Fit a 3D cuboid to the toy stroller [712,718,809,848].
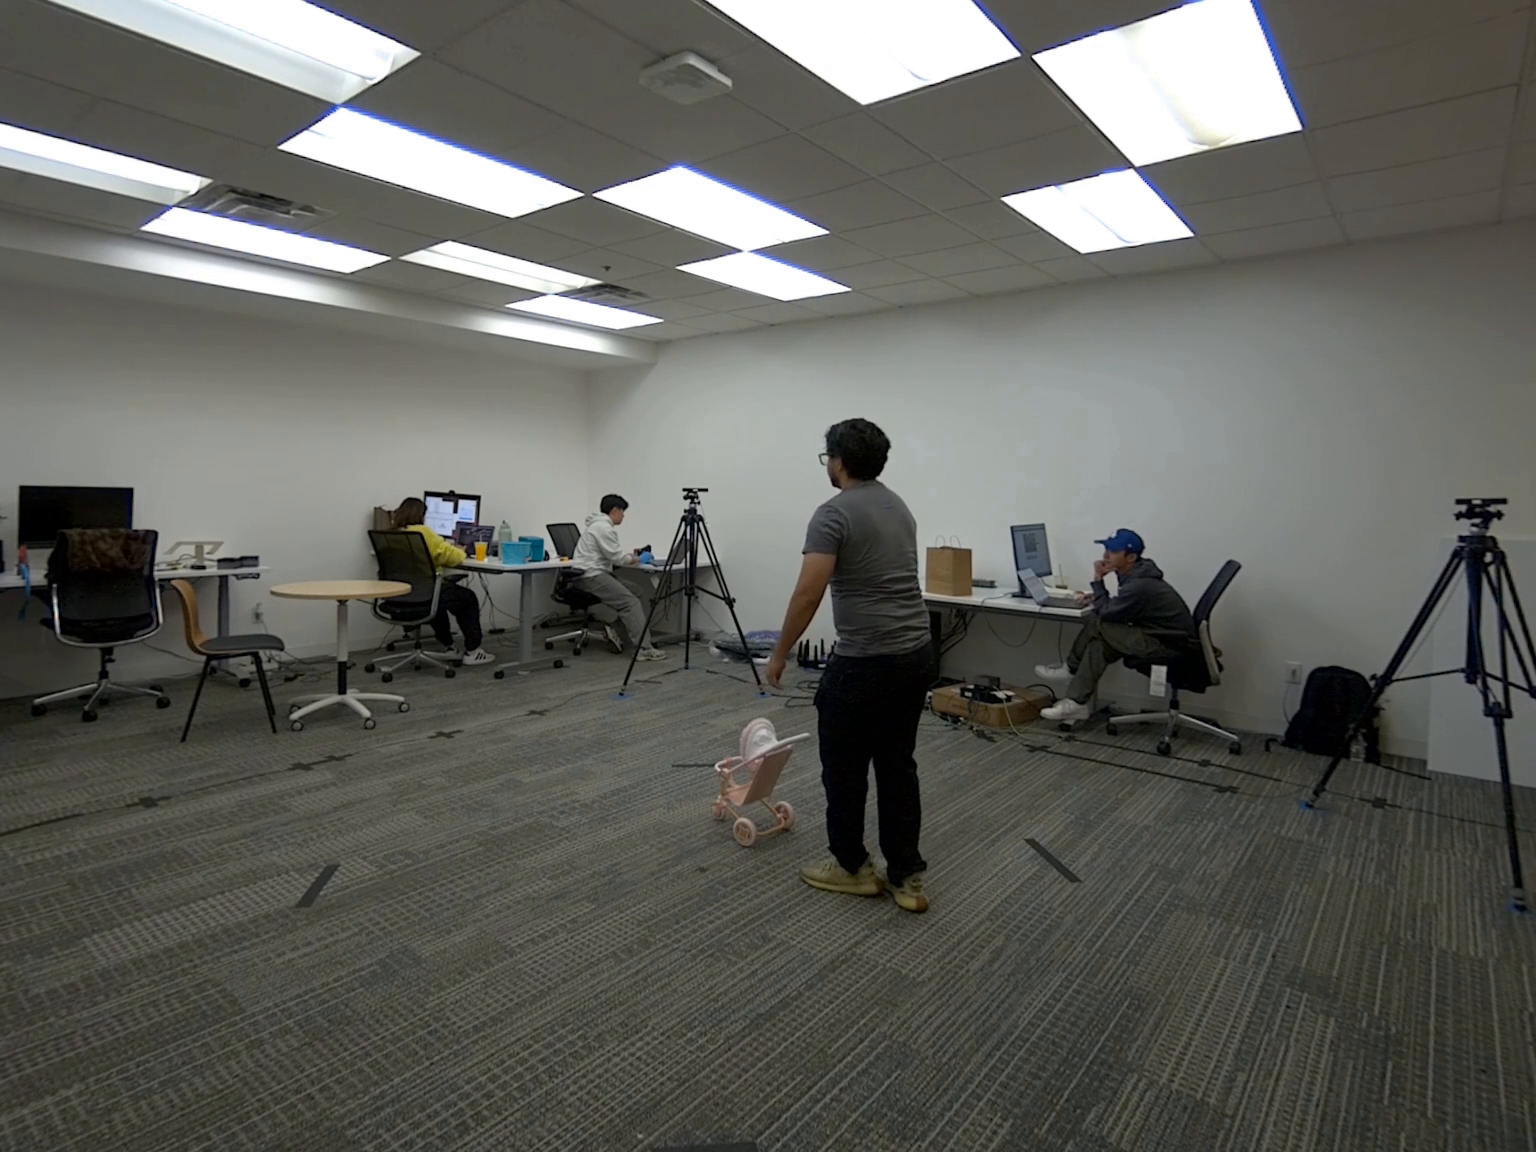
[{"bbox_3d":[-0.065,0.810,3.448,0.273,0.530,0.355,-1,19,-45],"label":"toy stroller"}]
